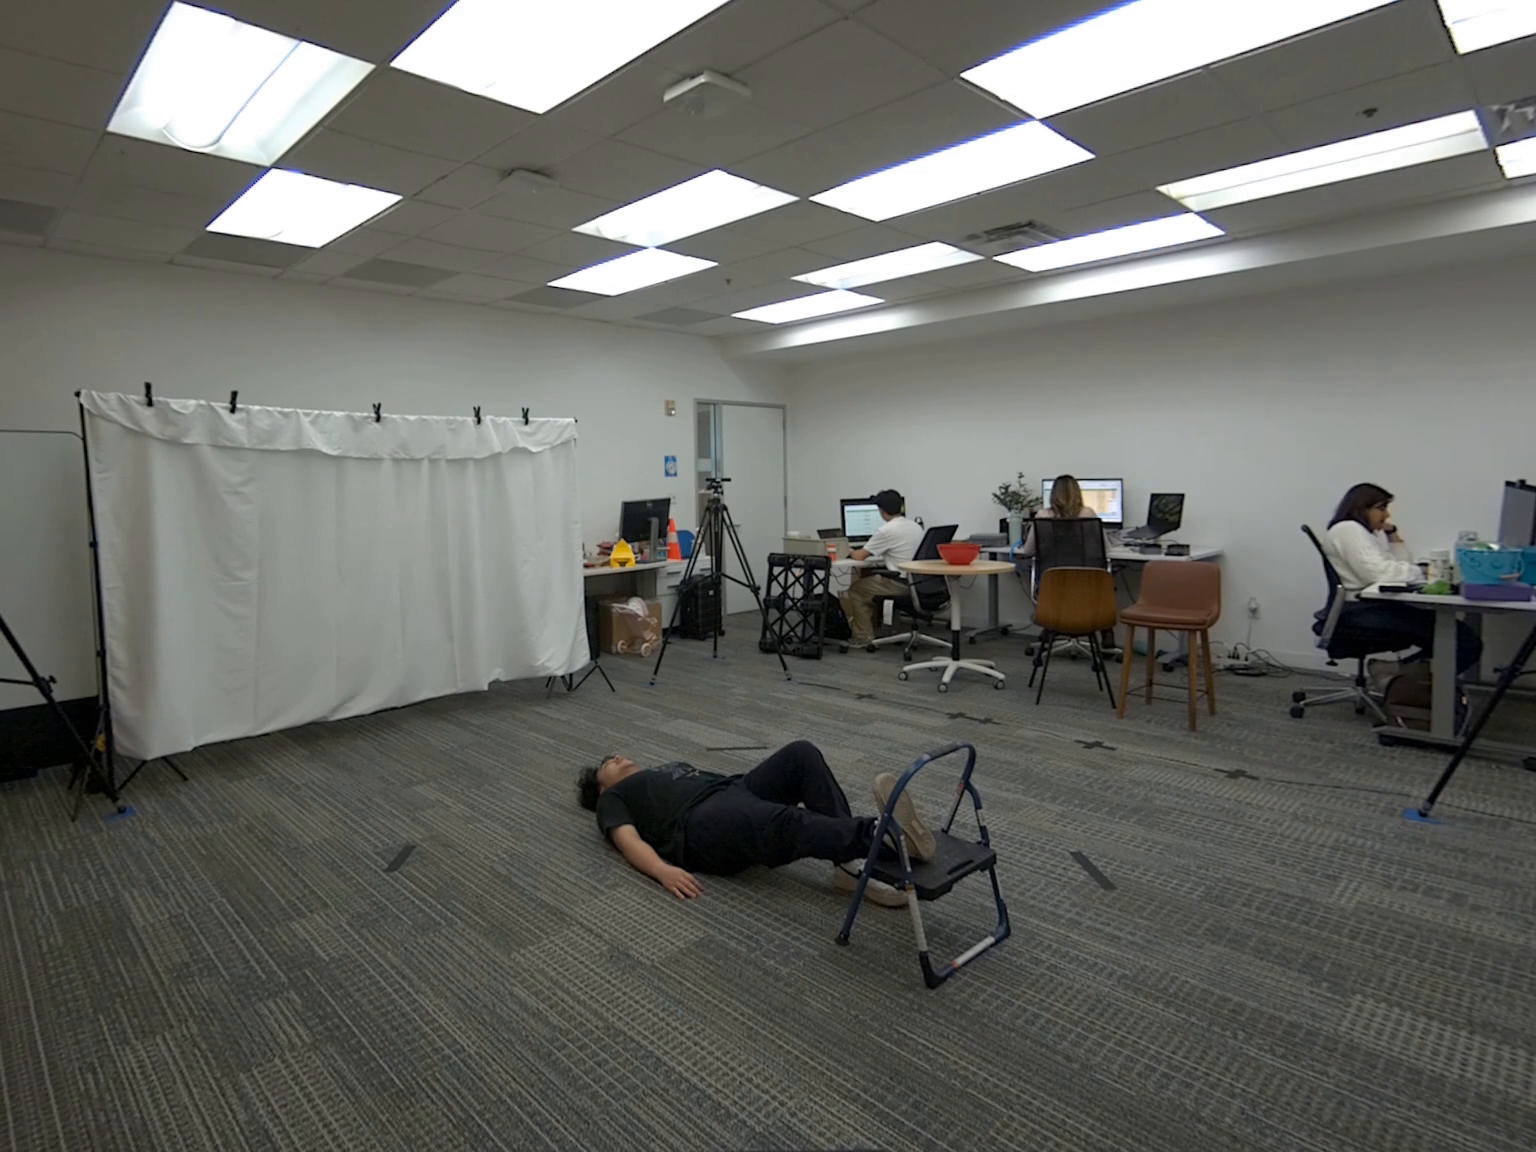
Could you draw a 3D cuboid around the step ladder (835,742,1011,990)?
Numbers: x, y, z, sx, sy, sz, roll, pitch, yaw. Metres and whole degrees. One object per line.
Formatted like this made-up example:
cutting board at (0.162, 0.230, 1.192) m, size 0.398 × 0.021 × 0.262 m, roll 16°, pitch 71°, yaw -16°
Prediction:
step ladder at (0.474, 0.798, 2.557) m, size 0.419 × 0.603 × 0.360 m, roll -6°, pitch 7°, yaw -44°
